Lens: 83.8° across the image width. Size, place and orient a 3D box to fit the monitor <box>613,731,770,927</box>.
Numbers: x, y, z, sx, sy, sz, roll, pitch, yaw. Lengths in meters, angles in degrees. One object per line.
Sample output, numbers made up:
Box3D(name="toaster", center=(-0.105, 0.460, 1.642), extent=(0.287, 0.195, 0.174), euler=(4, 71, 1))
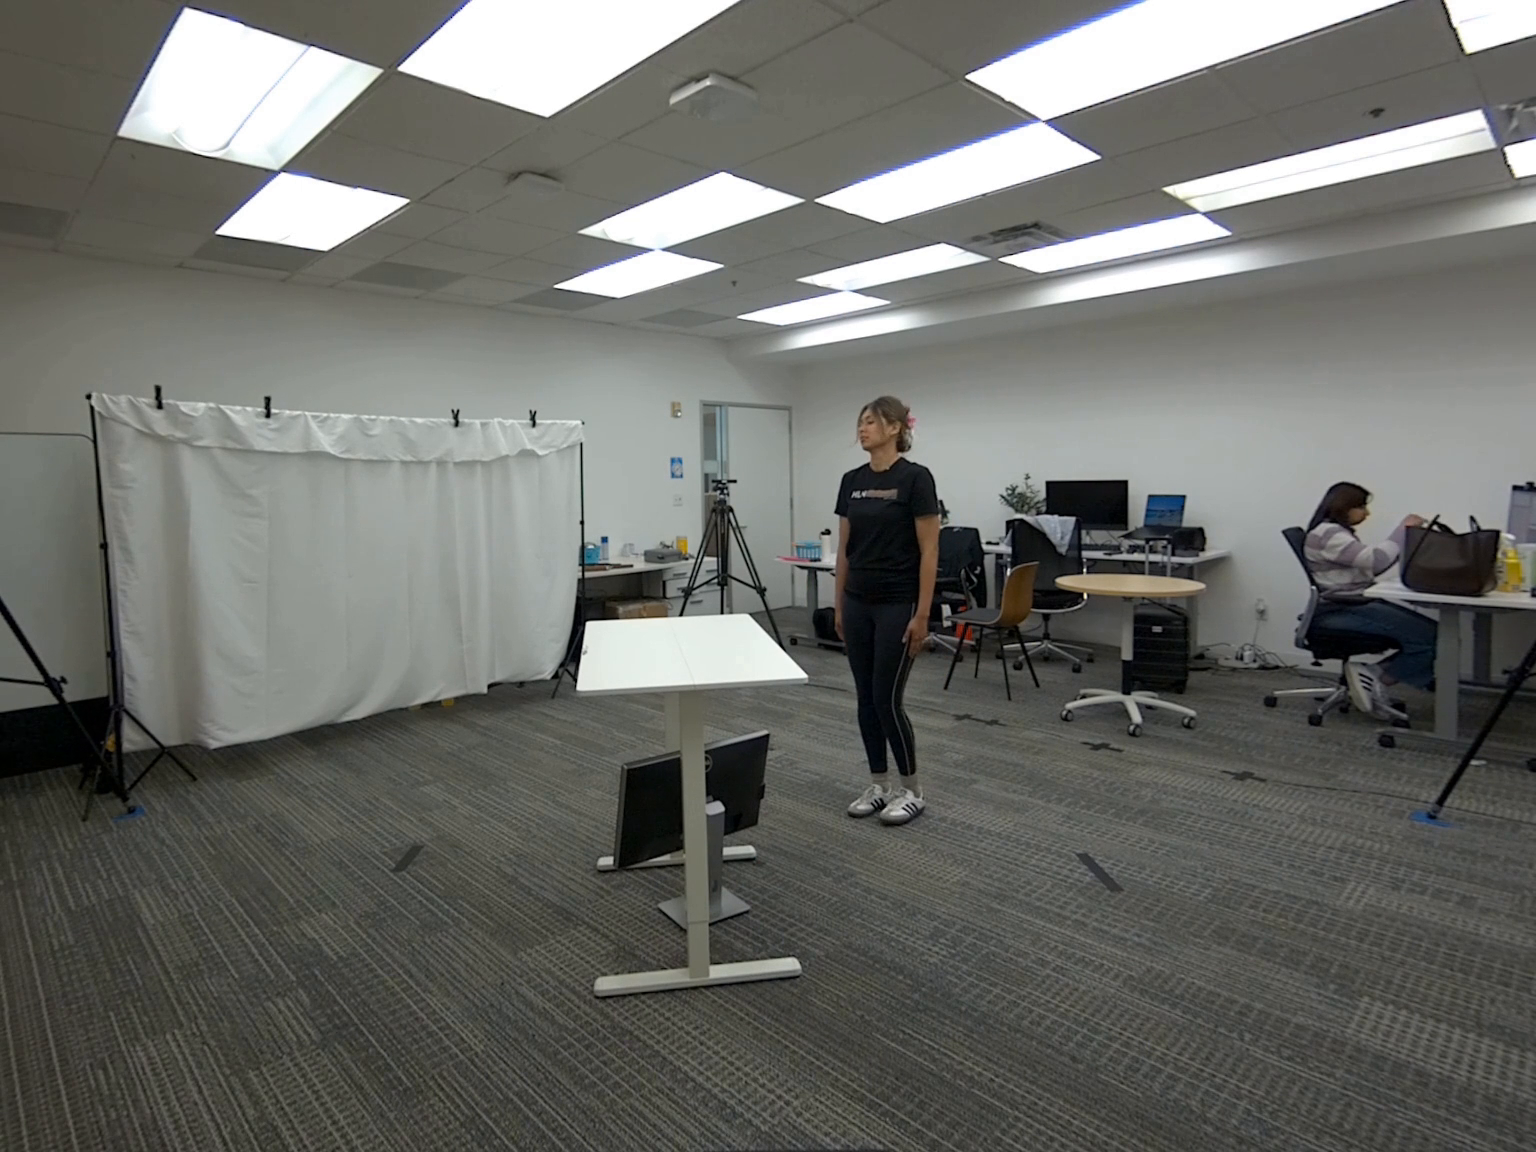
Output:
Box3D(name="monitor", center=(-0.214, 0.824, 2.766), extent=(0.525, 0.521, 0.192), euler=(-5, 4, -37))
